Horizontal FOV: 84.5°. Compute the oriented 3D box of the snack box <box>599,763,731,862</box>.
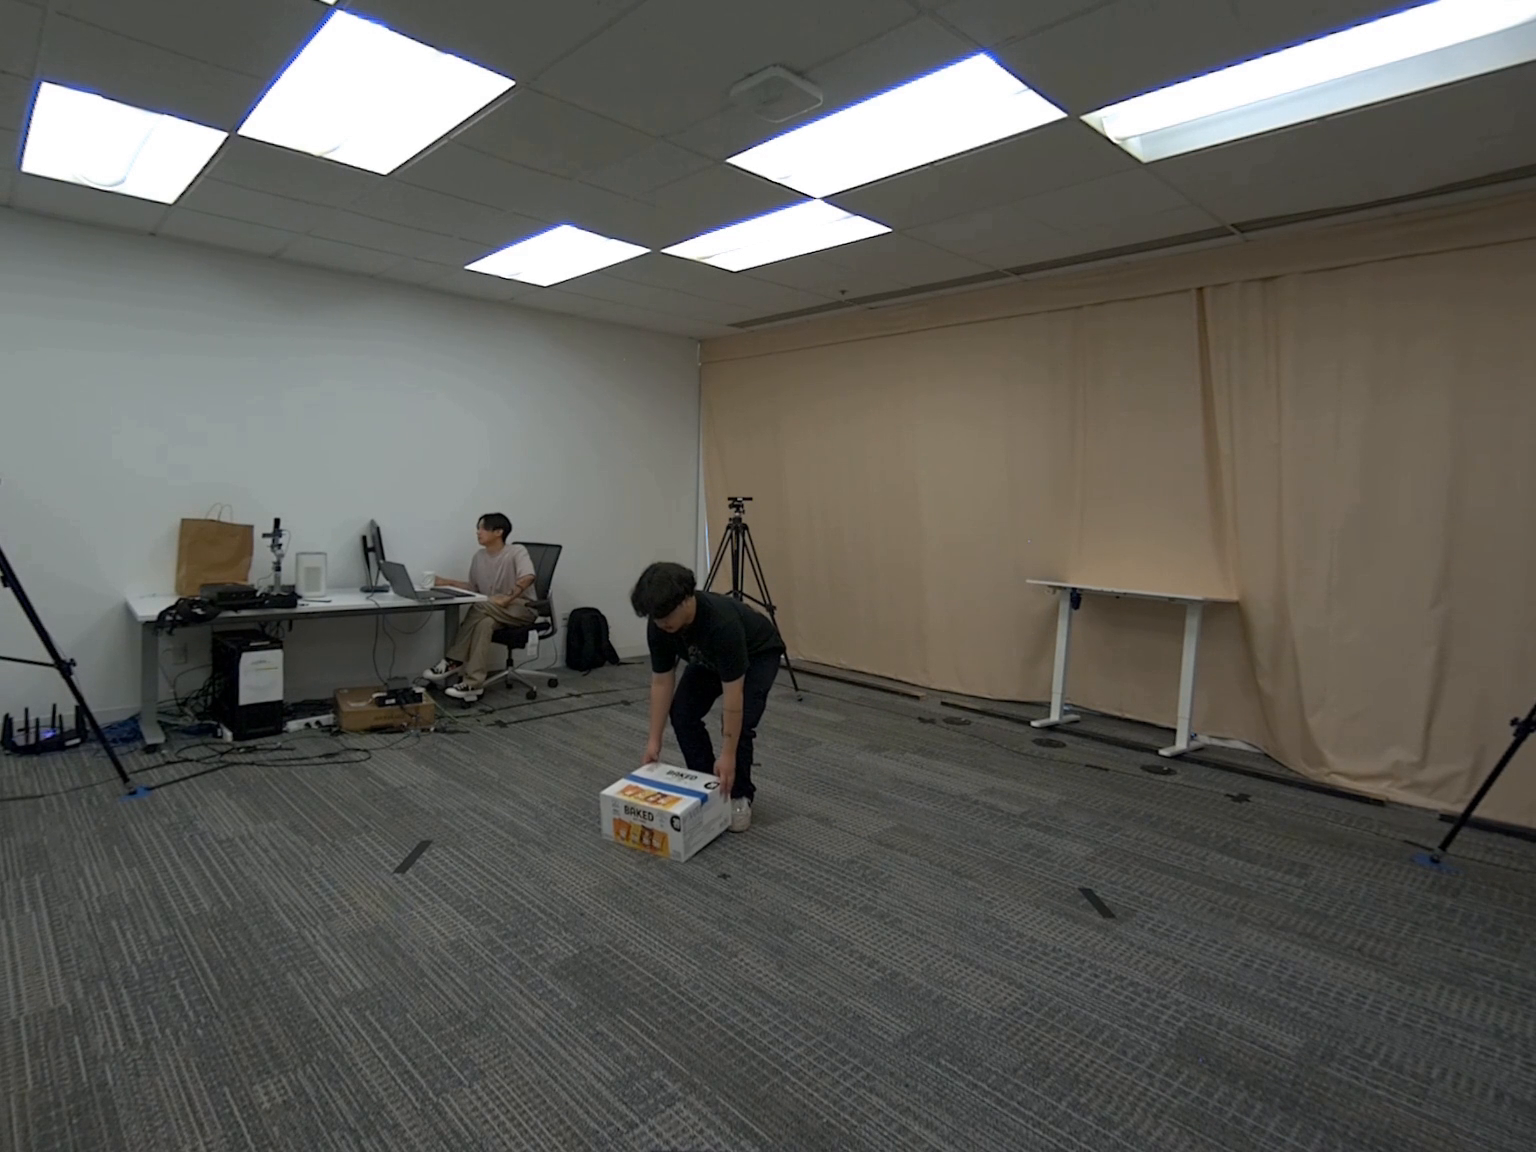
[{"bbox_3d":[-0.422,0.951,3.431,0.414,0.204,0.335,4,13,32],"label":"snack box"}]
